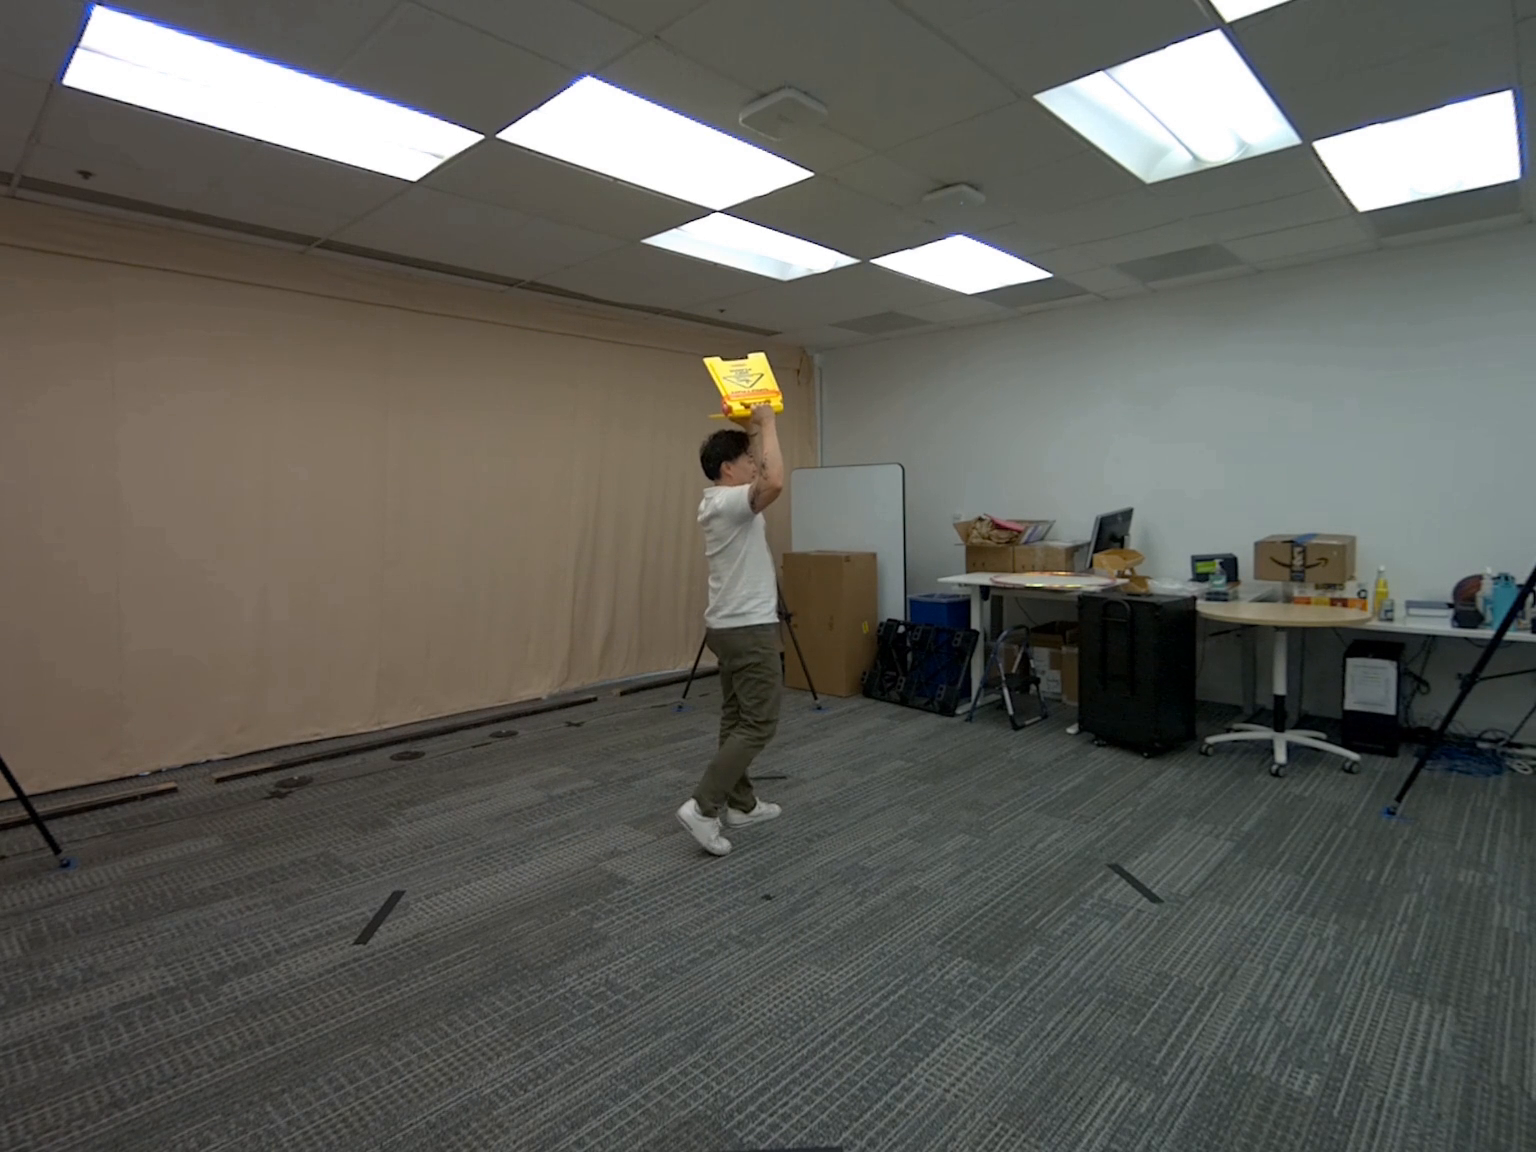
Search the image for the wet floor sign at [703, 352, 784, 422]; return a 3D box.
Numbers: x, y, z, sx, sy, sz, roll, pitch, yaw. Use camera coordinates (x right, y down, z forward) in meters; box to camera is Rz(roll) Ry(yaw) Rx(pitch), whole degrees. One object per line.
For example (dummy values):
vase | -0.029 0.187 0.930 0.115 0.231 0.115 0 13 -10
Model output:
wet floor sign | -0.081 -0.752 3.554 0.280 0.286 0.659 -7 22 -7
